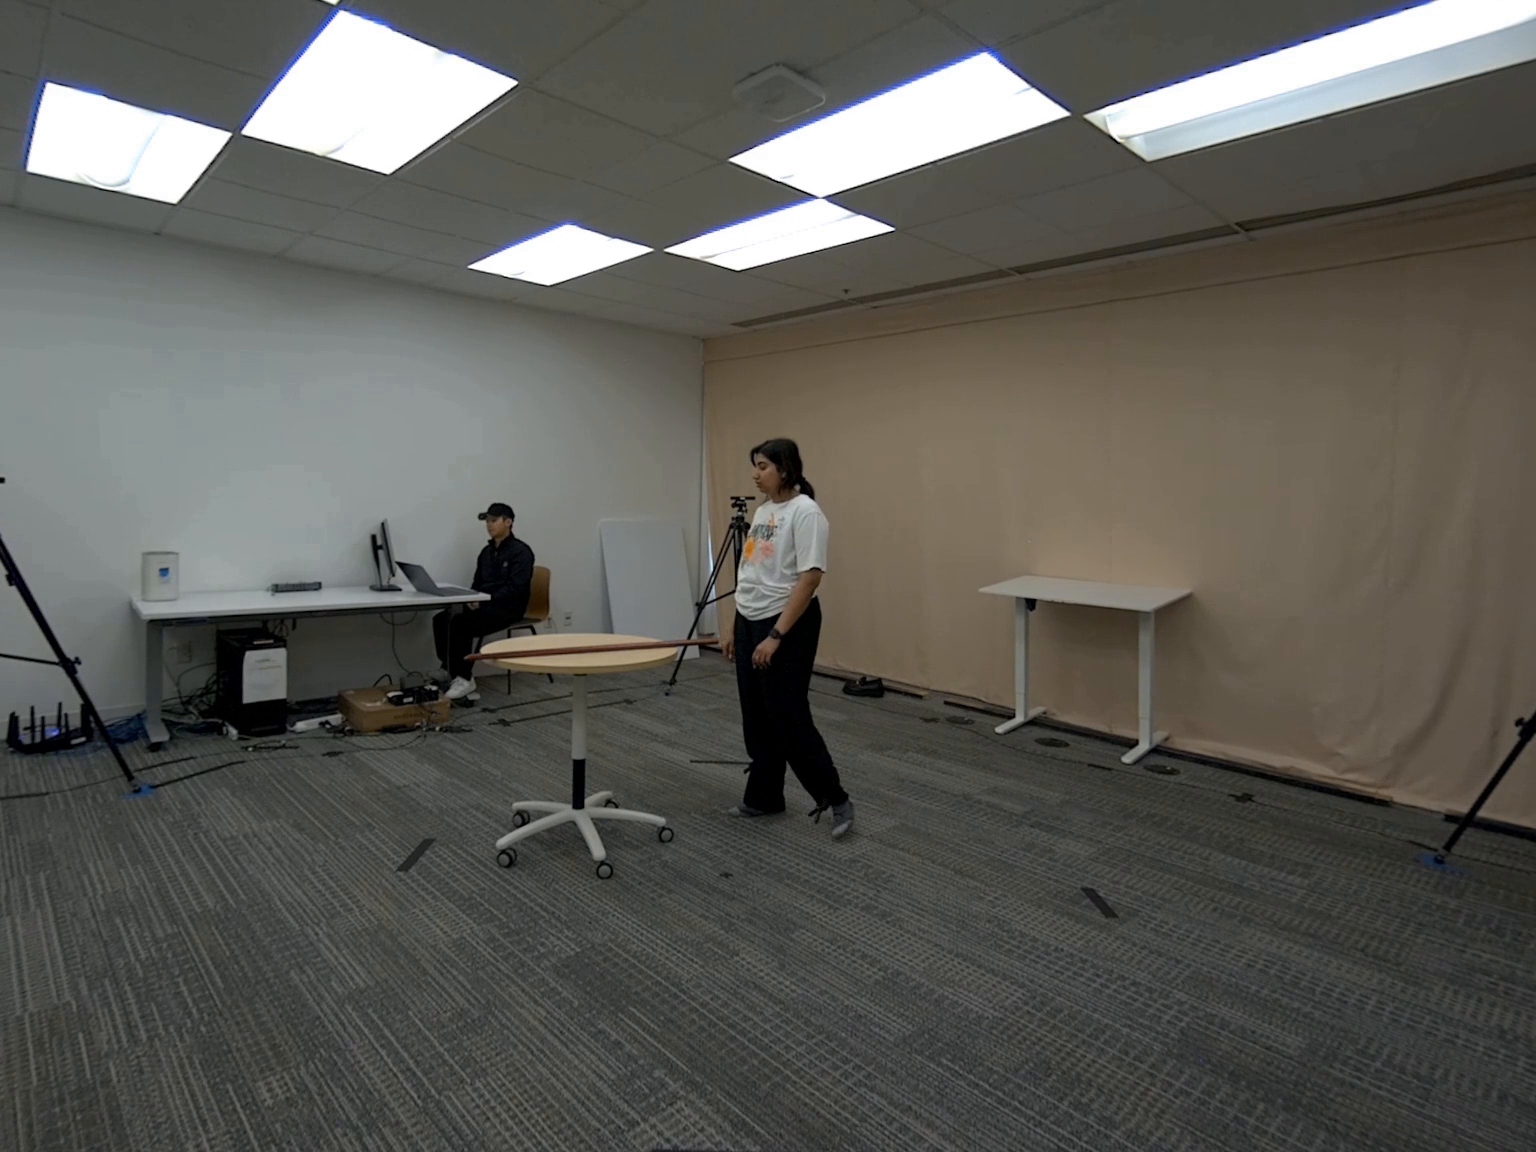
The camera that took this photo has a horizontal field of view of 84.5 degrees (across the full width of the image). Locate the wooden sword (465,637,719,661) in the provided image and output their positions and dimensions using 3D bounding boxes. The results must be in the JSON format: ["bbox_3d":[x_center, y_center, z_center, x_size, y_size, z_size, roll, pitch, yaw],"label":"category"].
[{"bbox_3d":[-0.644,0.286,3.242,1.004,0.051,0.025,0,46,-28],"label":"wooden sword"}]
